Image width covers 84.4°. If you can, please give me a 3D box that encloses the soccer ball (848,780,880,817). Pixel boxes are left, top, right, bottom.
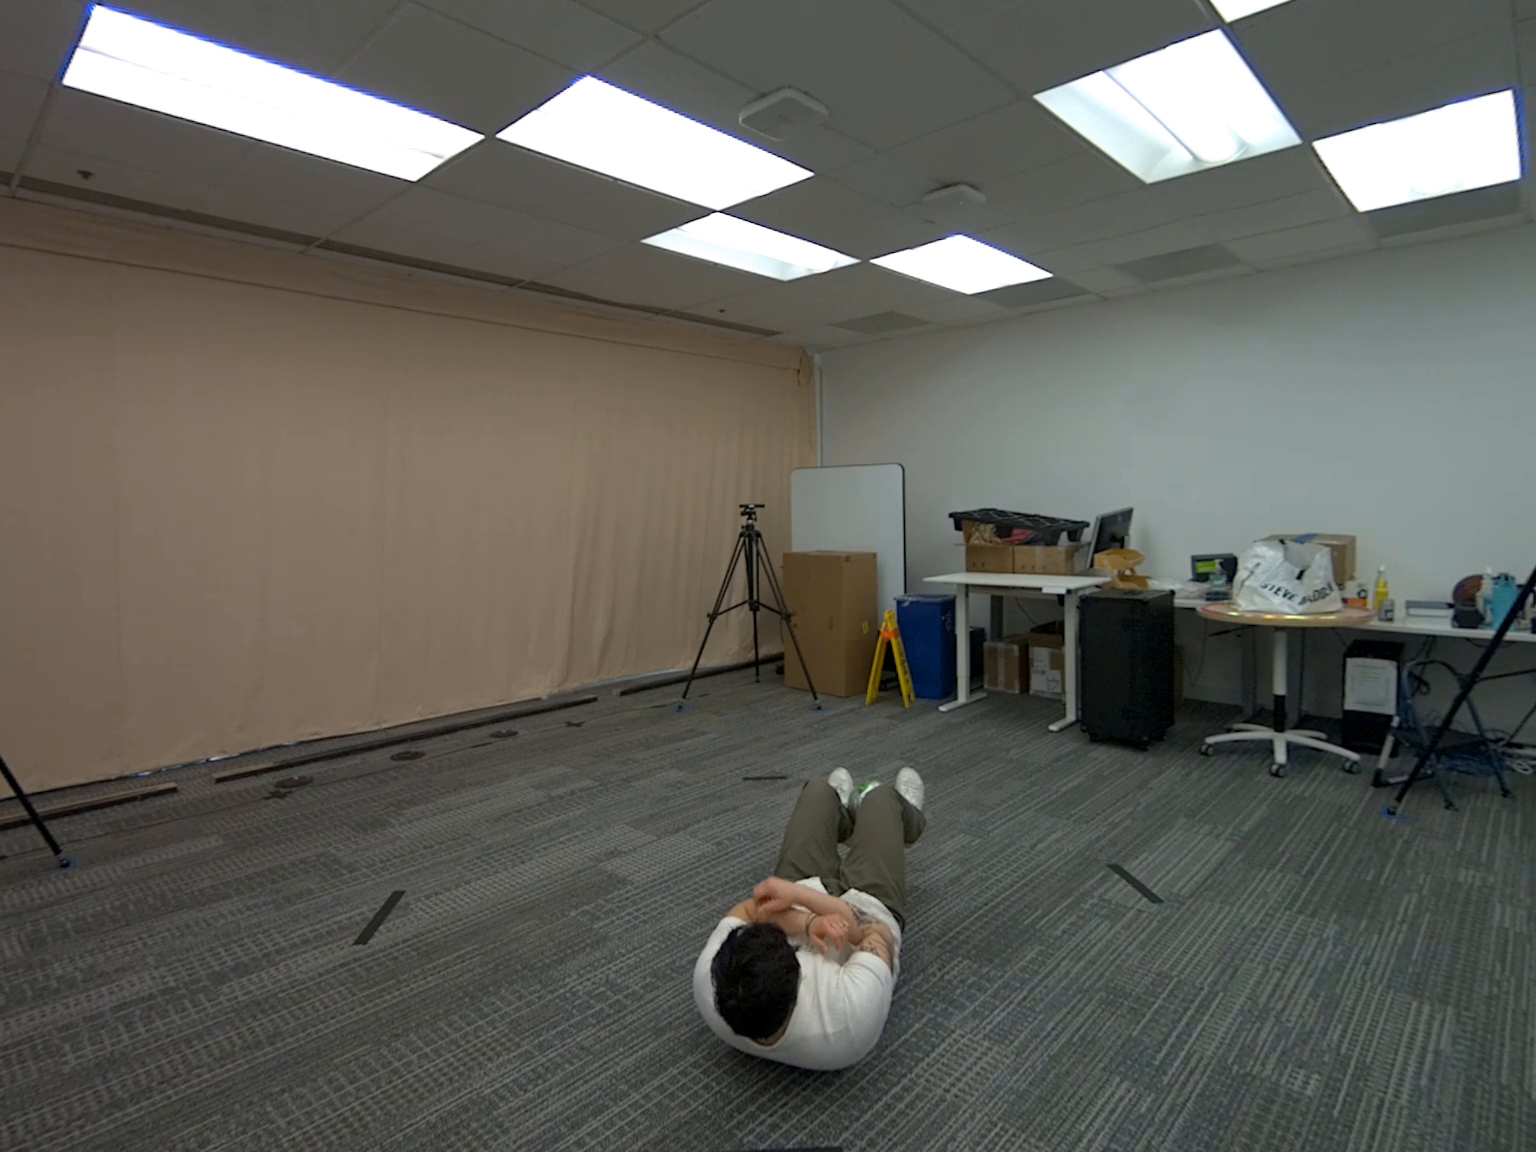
[{"bbox_3d":[0.398,0.837,3.011,0.187,0.187,0.188,-1,4,-2],"label":"soccer ball"}]
